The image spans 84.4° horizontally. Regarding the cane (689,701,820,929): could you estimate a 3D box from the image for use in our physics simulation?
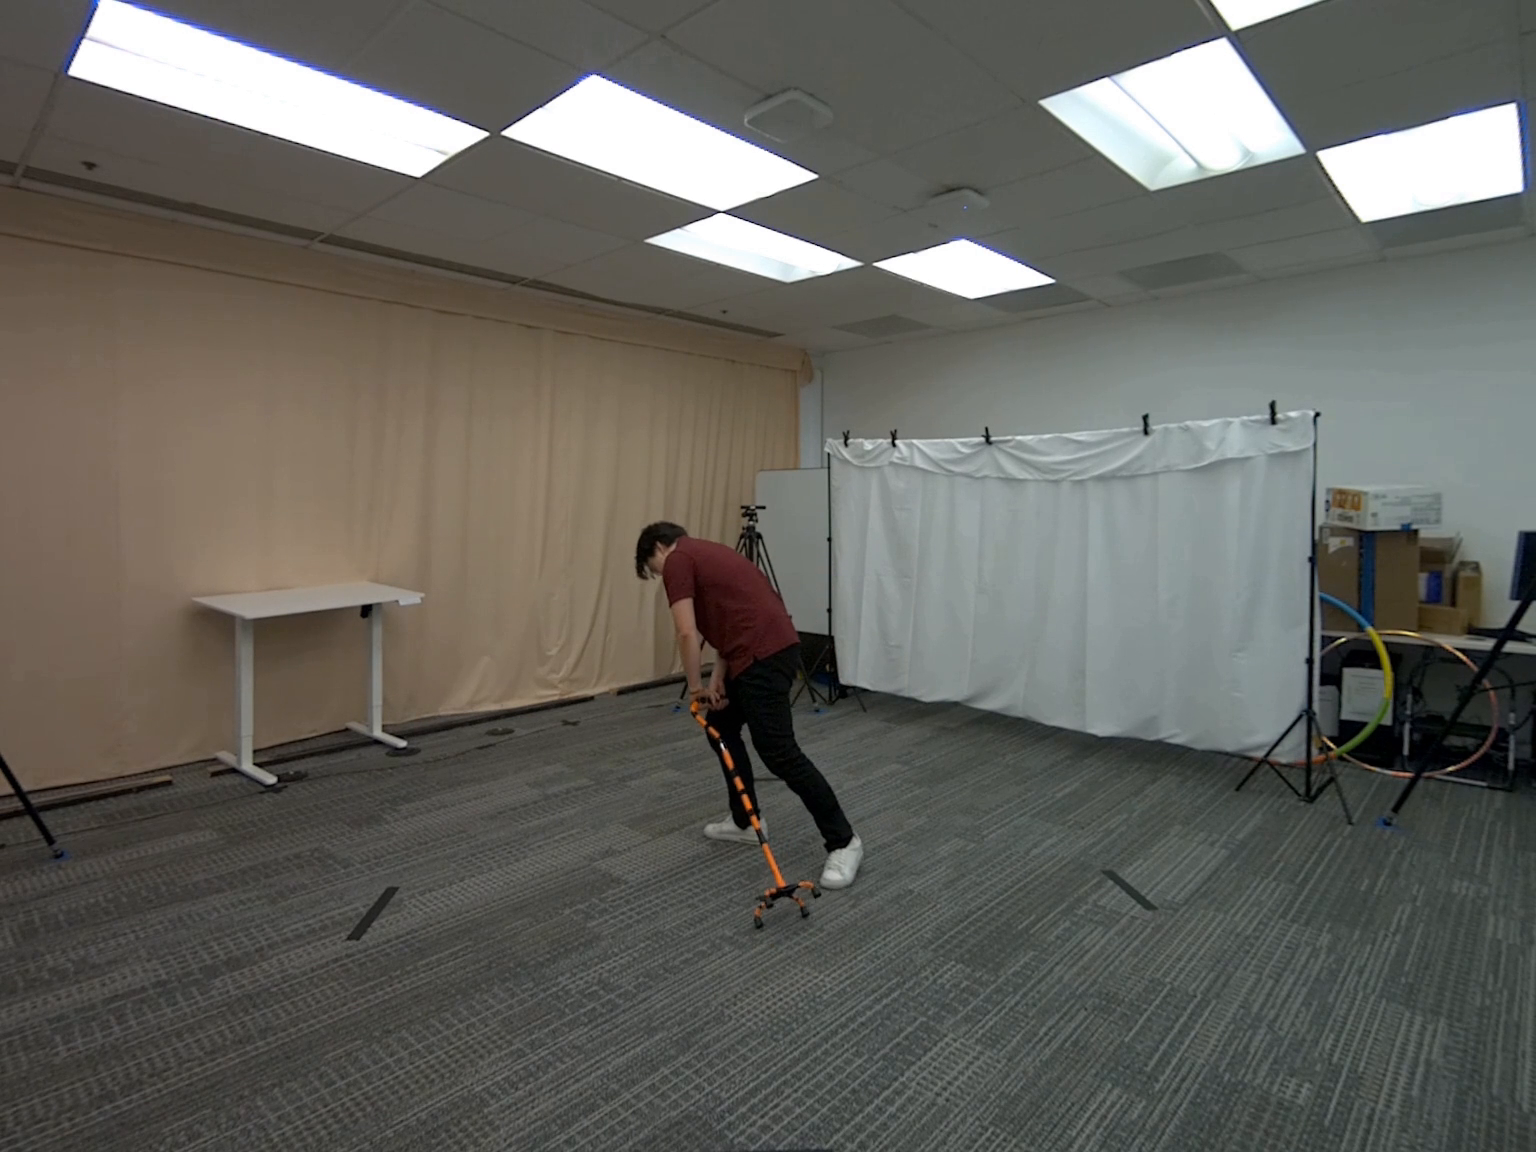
[{"bbox_3d":[-0.094,0.802,3.076,0.202,0.150,0.937,-4,41,-25],"label":"cane"}]
